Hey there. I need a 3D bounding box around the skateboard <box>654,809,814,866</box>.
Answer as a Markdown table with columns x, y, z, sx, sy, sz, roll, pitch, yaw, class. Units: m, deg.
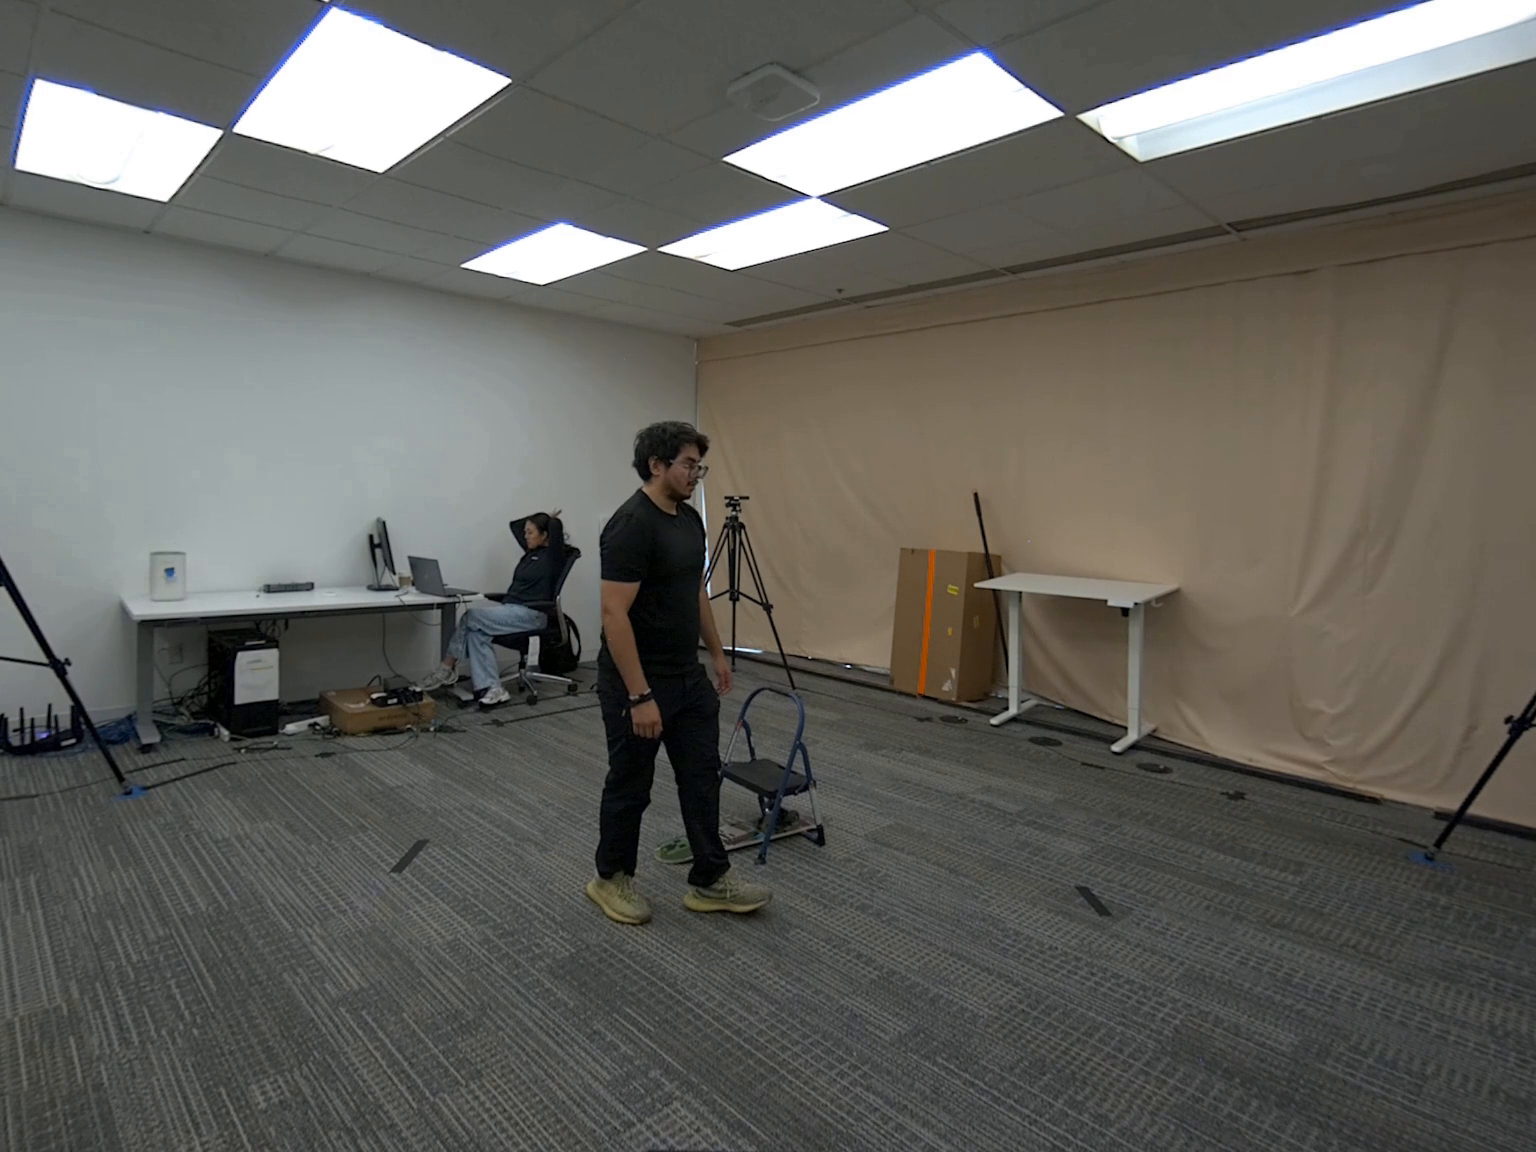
| x | y | z | sx | sy | sz | roll | pitch | yaw | class |
| --- | --- | --- | --- | --- | --- | --- | --- | --- | --- |
| -0.110 | 1.027 | 3.436 | 0.769 | 0.110 | 0.198 | -3 | 7 | -35 | skateboard |
